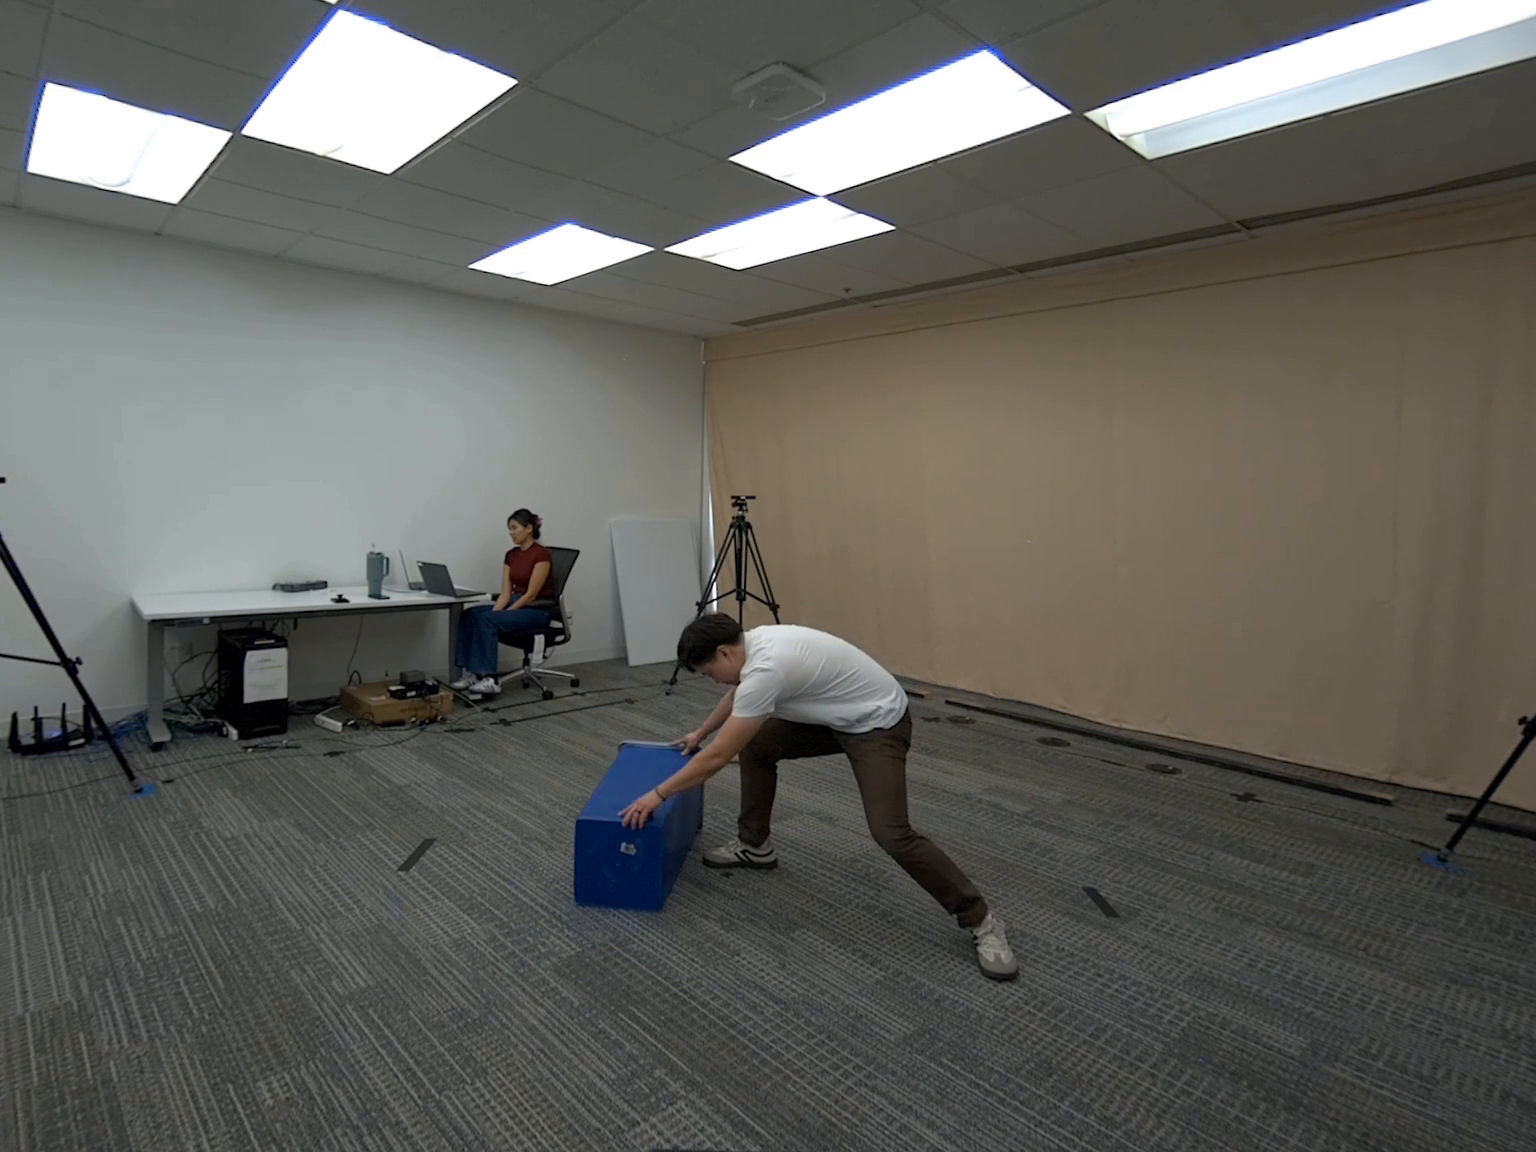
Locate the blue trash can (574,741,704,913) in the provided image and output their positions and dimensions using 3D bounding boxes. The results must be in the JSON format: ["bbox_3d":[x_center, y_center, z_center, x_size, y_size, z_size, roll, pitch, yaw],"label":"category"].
[{"bbox_3d":[-0.479,0.920,3.156,0.376,0.376,0.712,3,7,7],"label":"blue trash can"}]
